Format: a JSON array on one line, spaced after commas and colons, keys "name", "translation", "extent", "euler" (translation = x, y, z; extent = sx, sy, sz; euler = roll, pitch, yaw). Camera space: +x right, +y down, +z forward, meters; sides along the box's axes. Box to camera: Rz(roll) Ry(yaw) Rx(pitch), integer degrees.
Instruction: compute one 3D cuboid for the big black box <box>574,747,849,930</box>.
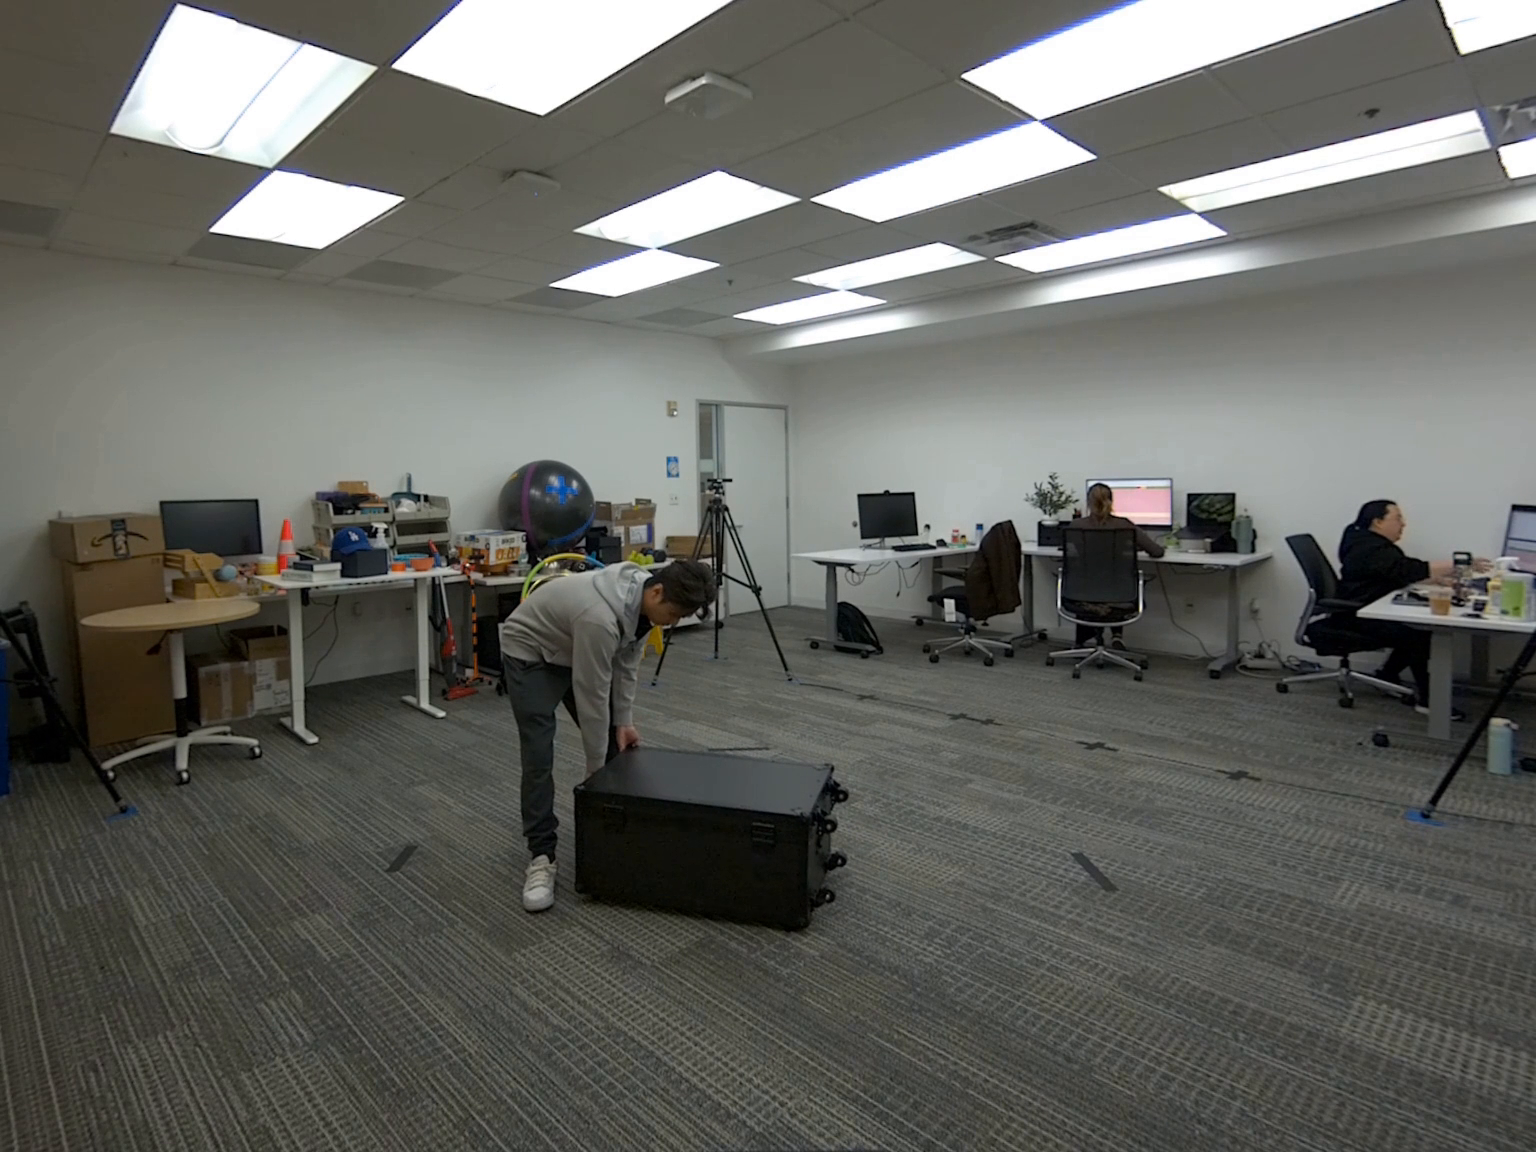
[{"name": "big black box", "translation": [-0.172, 0.867, 2.922], "extent": [0.875, 0.394, 0.516], "euler": [1, 7, 15]}]
